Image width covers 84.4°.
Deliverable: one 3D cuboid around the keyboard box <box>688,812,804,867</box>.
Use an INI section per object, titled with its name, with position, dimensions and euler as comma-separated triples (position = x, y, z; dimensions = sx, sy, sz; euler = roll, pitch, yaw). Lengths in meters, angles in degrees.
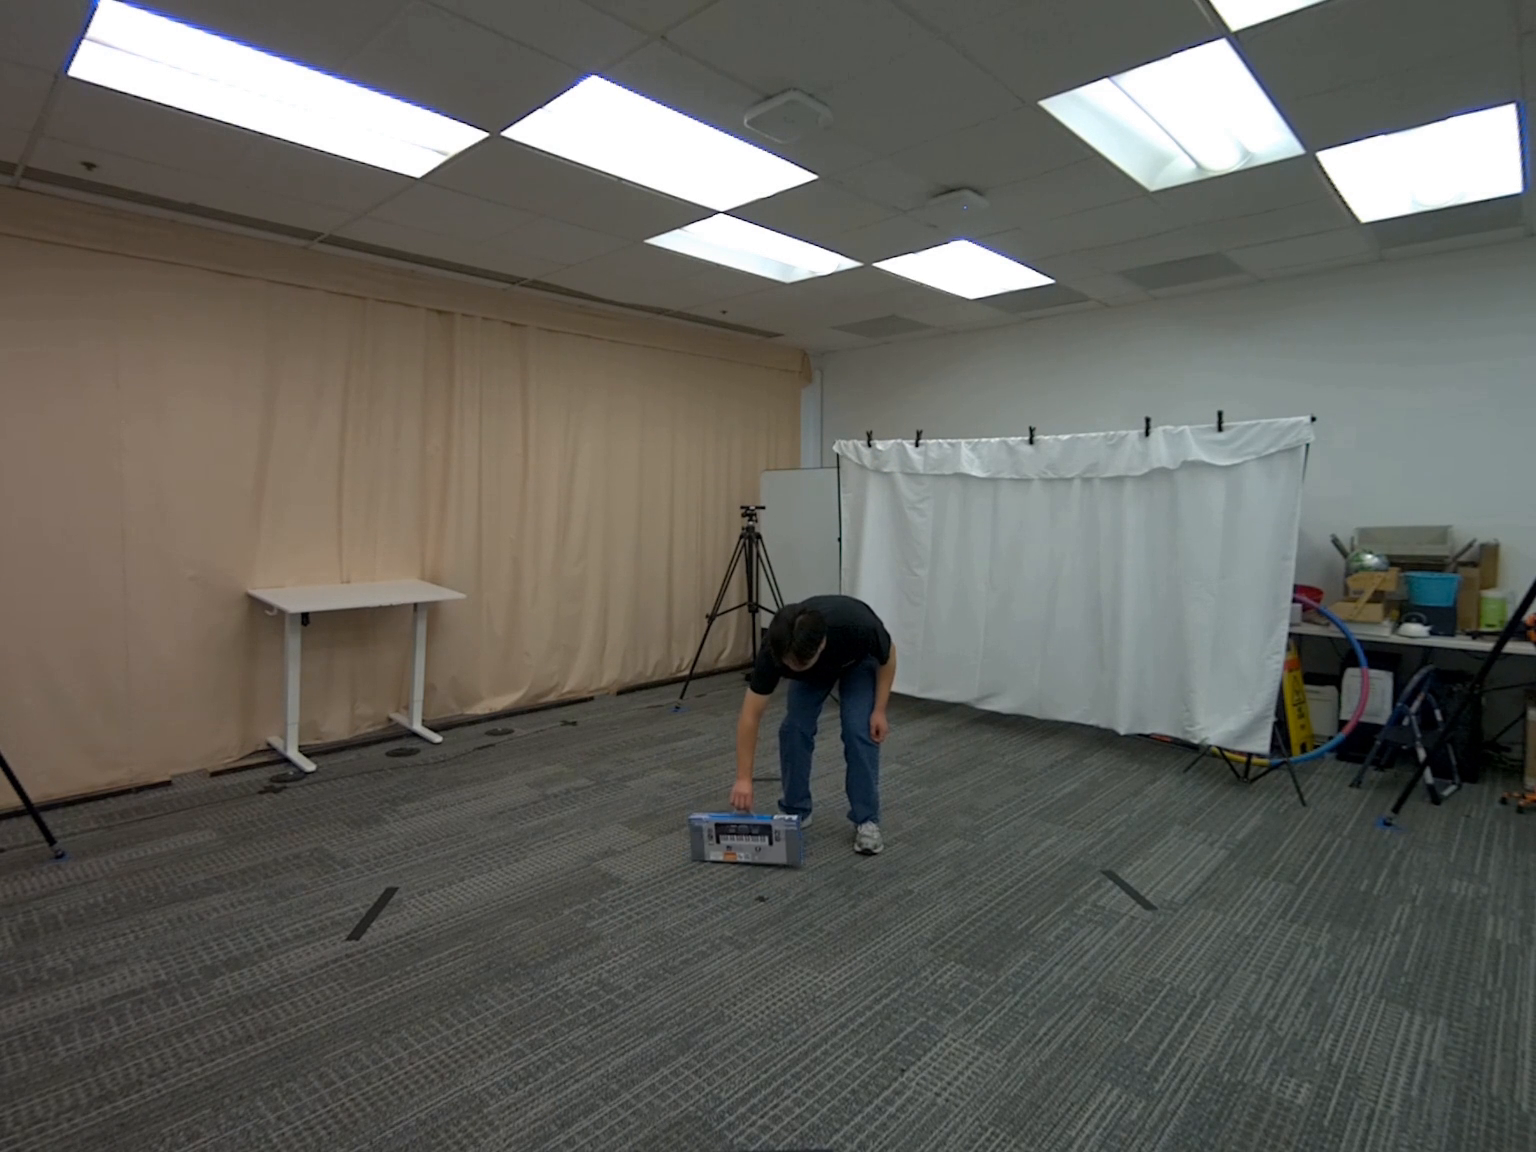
[keyboard box]
position = -0.087, 1.010, 3.268
dimensions = 0.443, 0.176, 0.058
euler = -2, 2, 14
